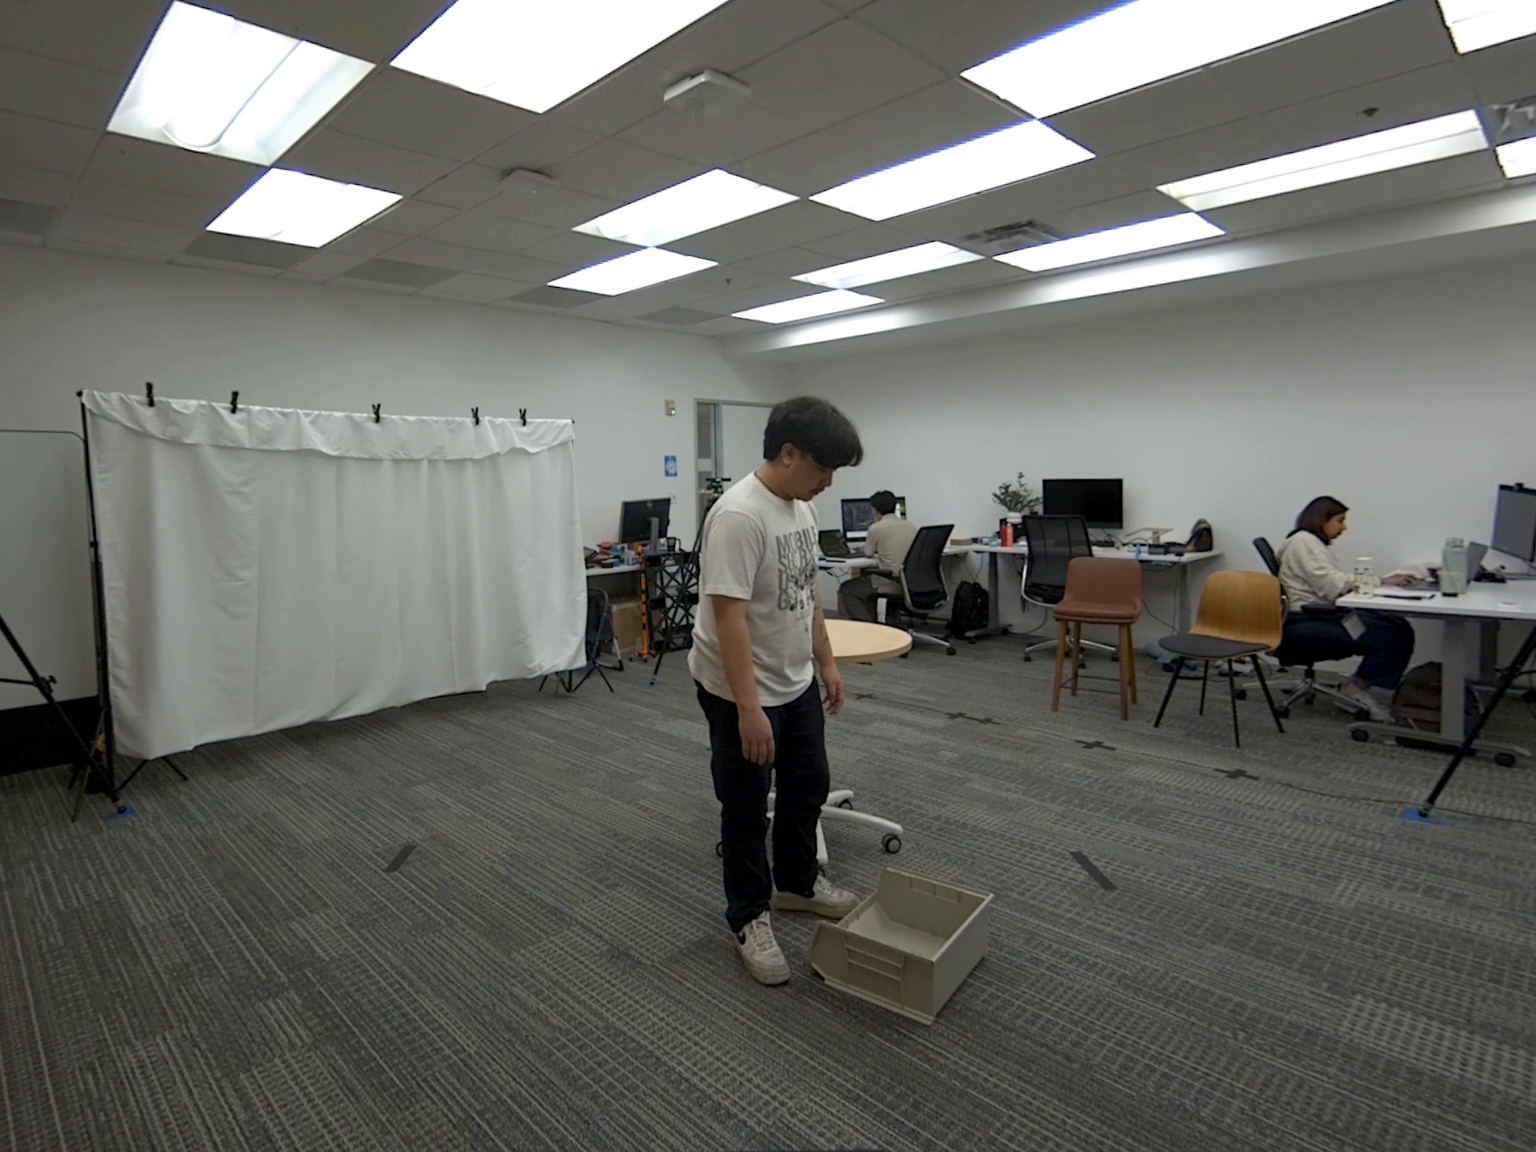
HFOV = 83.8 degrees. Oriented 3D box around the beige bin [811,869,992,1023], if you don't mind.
[{"bbox_3d":[0.379,1.019,2.435,0.388,0.188,0.412,4,7,36],"label":"beige bin"}]
